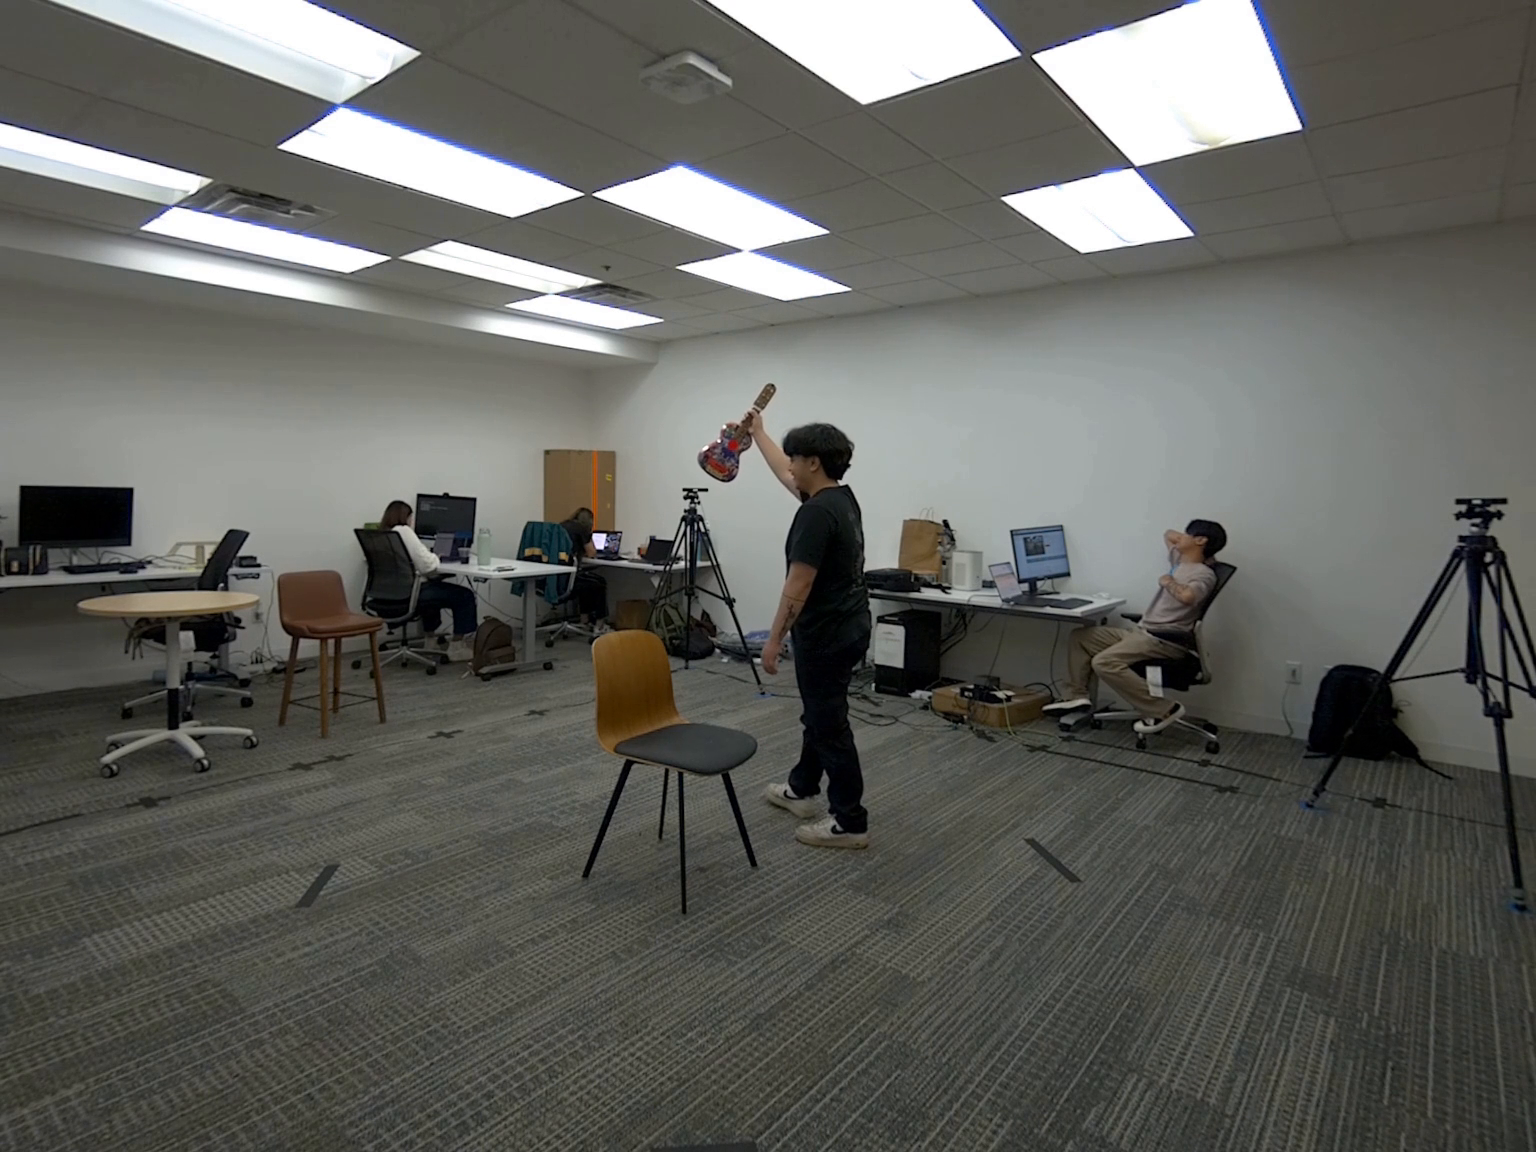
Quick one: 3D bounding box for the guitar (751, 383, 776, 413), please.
[{"bbox_3d":[-0.111,-0.648,3.879,0.189,0.498,0.072,41,7,-13],"label":"guitar"}]
